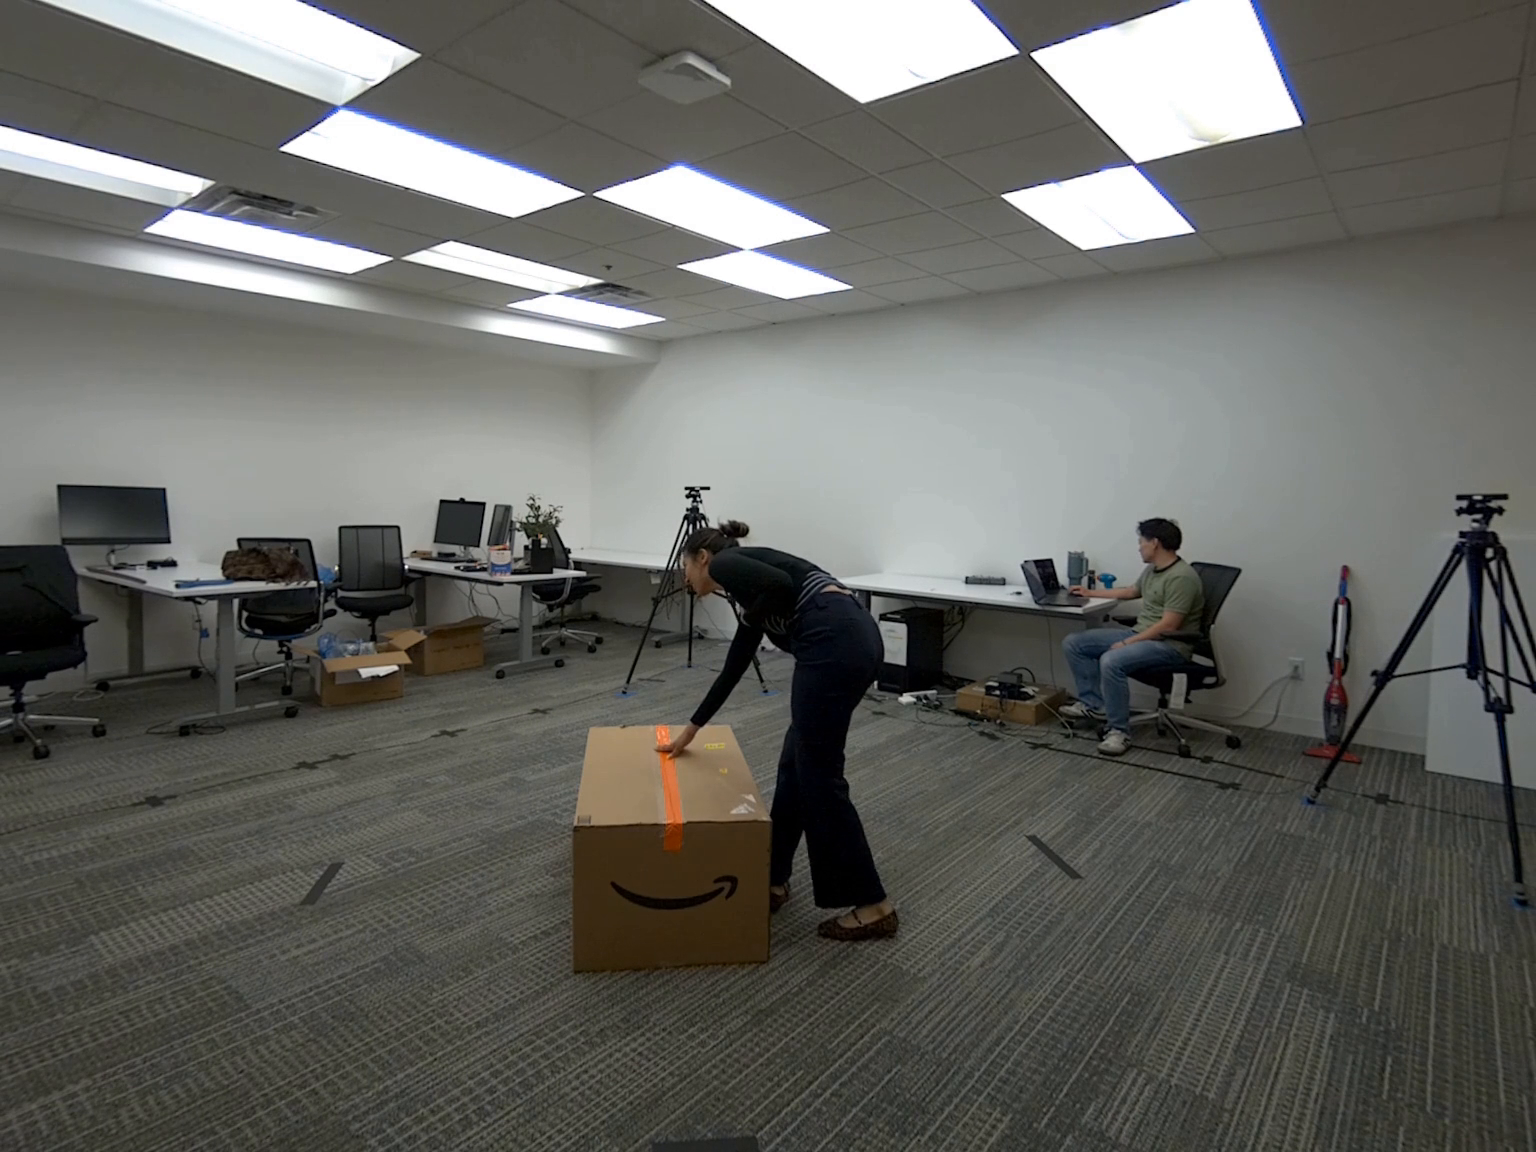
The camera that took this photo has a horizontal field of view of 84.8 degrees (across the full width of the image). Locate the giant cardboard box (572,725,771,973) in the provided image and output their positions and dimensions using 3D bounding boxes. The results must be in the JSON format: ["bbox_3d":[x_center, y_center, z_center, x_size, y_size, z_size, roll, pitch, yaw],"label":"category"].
[{"bbox_3d":[-0.368,0.864,2.948,0.573,0.424,1.039,1,5,-9],"label":"giant cardboard box"}]
